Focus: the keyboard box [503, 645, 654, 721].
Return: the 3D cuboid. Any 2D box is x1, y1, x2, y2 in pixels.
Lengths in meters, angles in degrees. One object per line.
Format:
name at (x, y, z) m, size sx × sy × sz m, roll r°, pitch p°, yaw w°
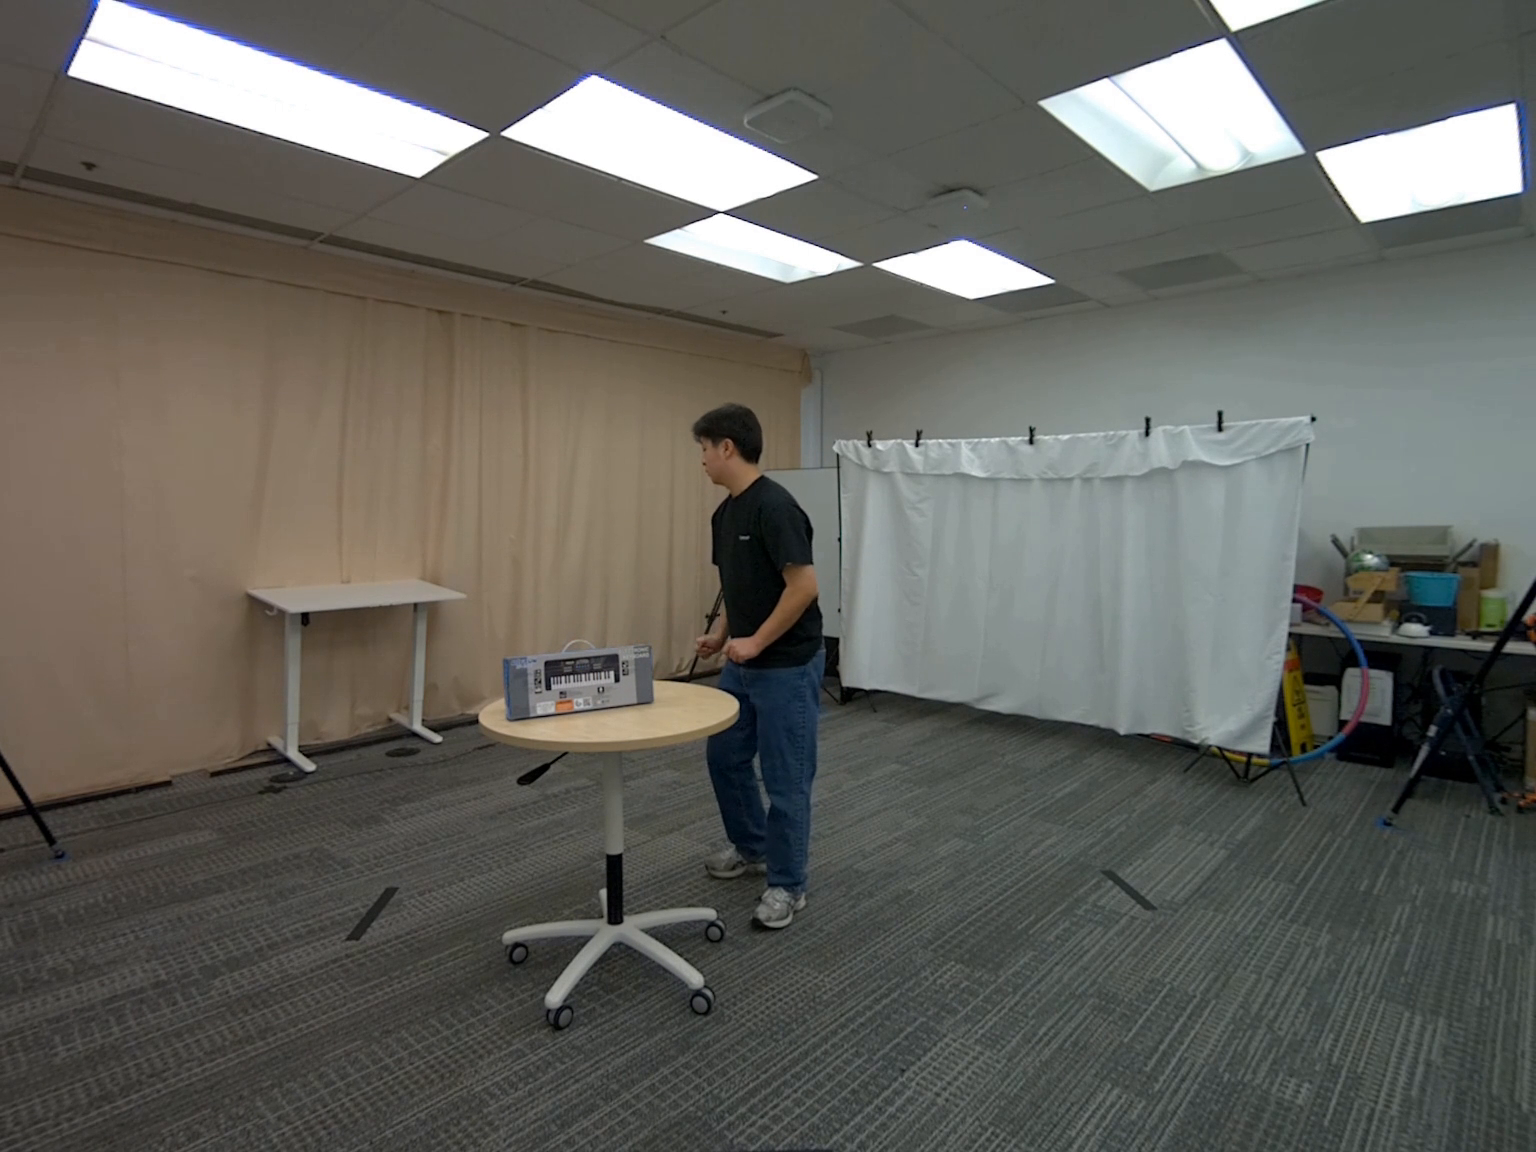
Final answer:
keyboard box at (-0.550, 0.309, 2.469) m, size 0.426 × 0.176 × 0.060 m, roll -3°, pitch -2°, yaw -27°
